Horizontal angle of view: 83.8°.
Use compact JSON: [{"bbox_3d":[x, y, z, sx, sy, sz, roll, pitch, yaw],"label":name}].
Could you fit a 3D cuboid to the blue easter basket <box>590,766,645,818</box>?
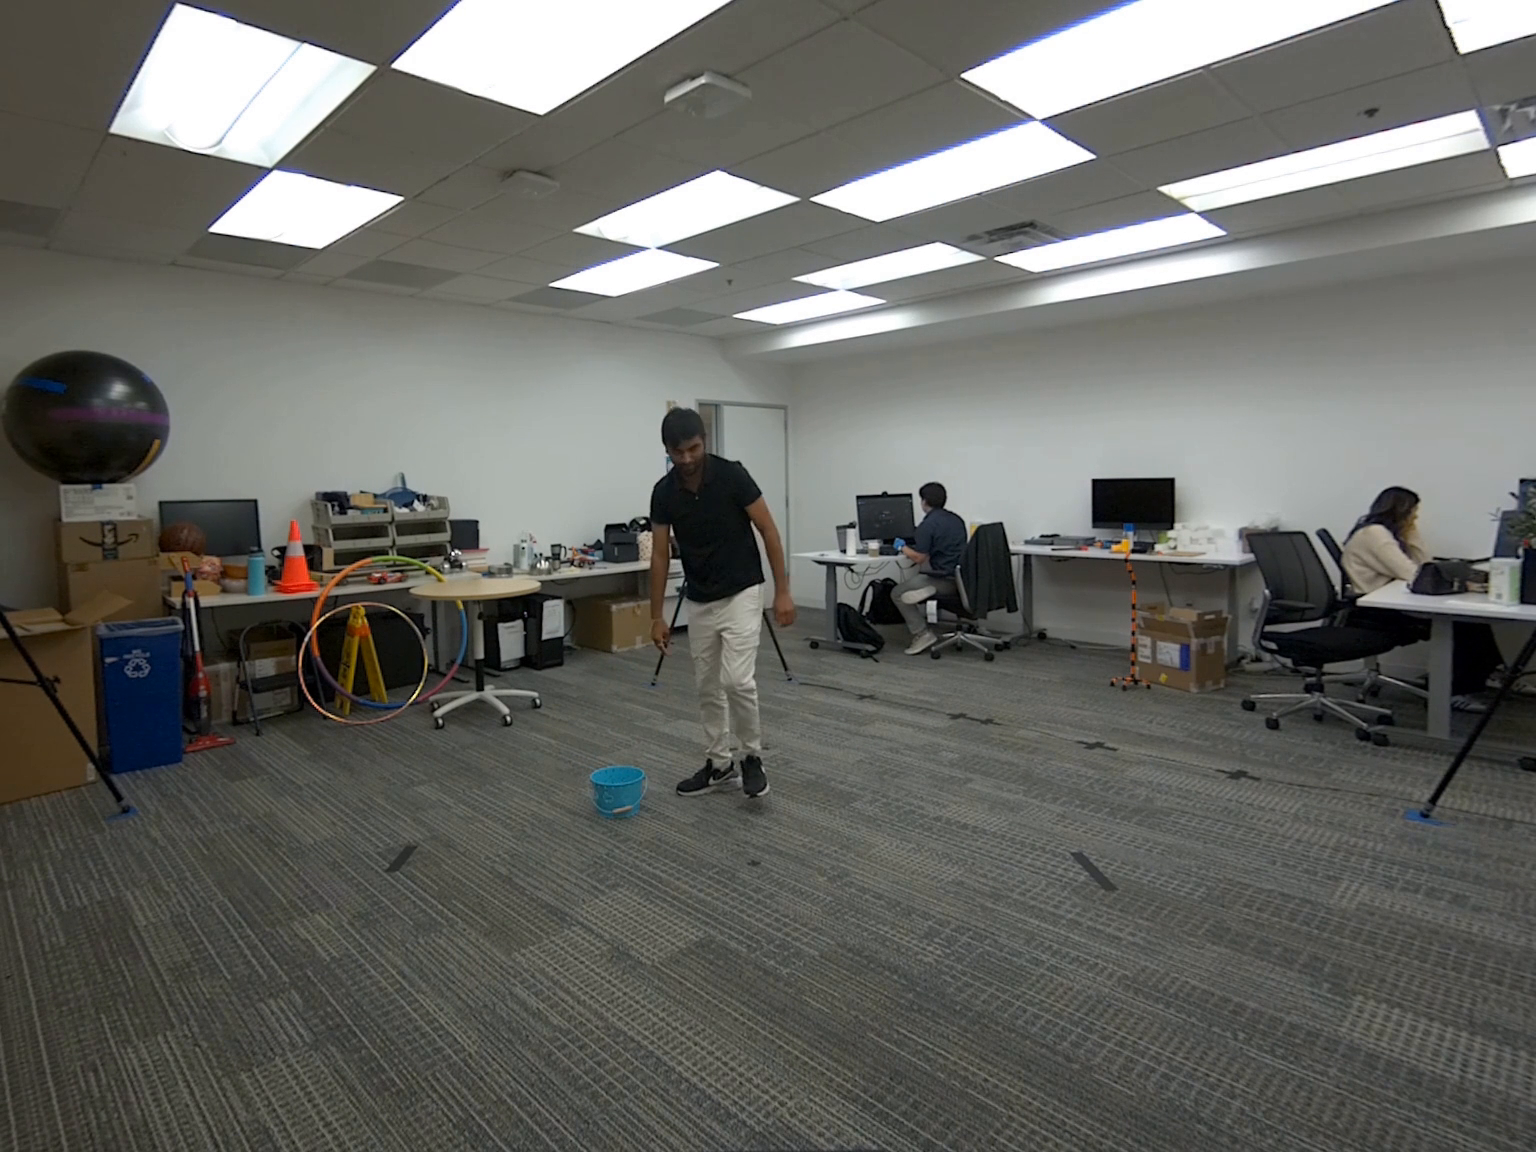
[{"bbox_3d":[-0.641,0.919,3.631,0.243,0.155,0.245,-2,5,-2],"label":"blue easter basket"}]
